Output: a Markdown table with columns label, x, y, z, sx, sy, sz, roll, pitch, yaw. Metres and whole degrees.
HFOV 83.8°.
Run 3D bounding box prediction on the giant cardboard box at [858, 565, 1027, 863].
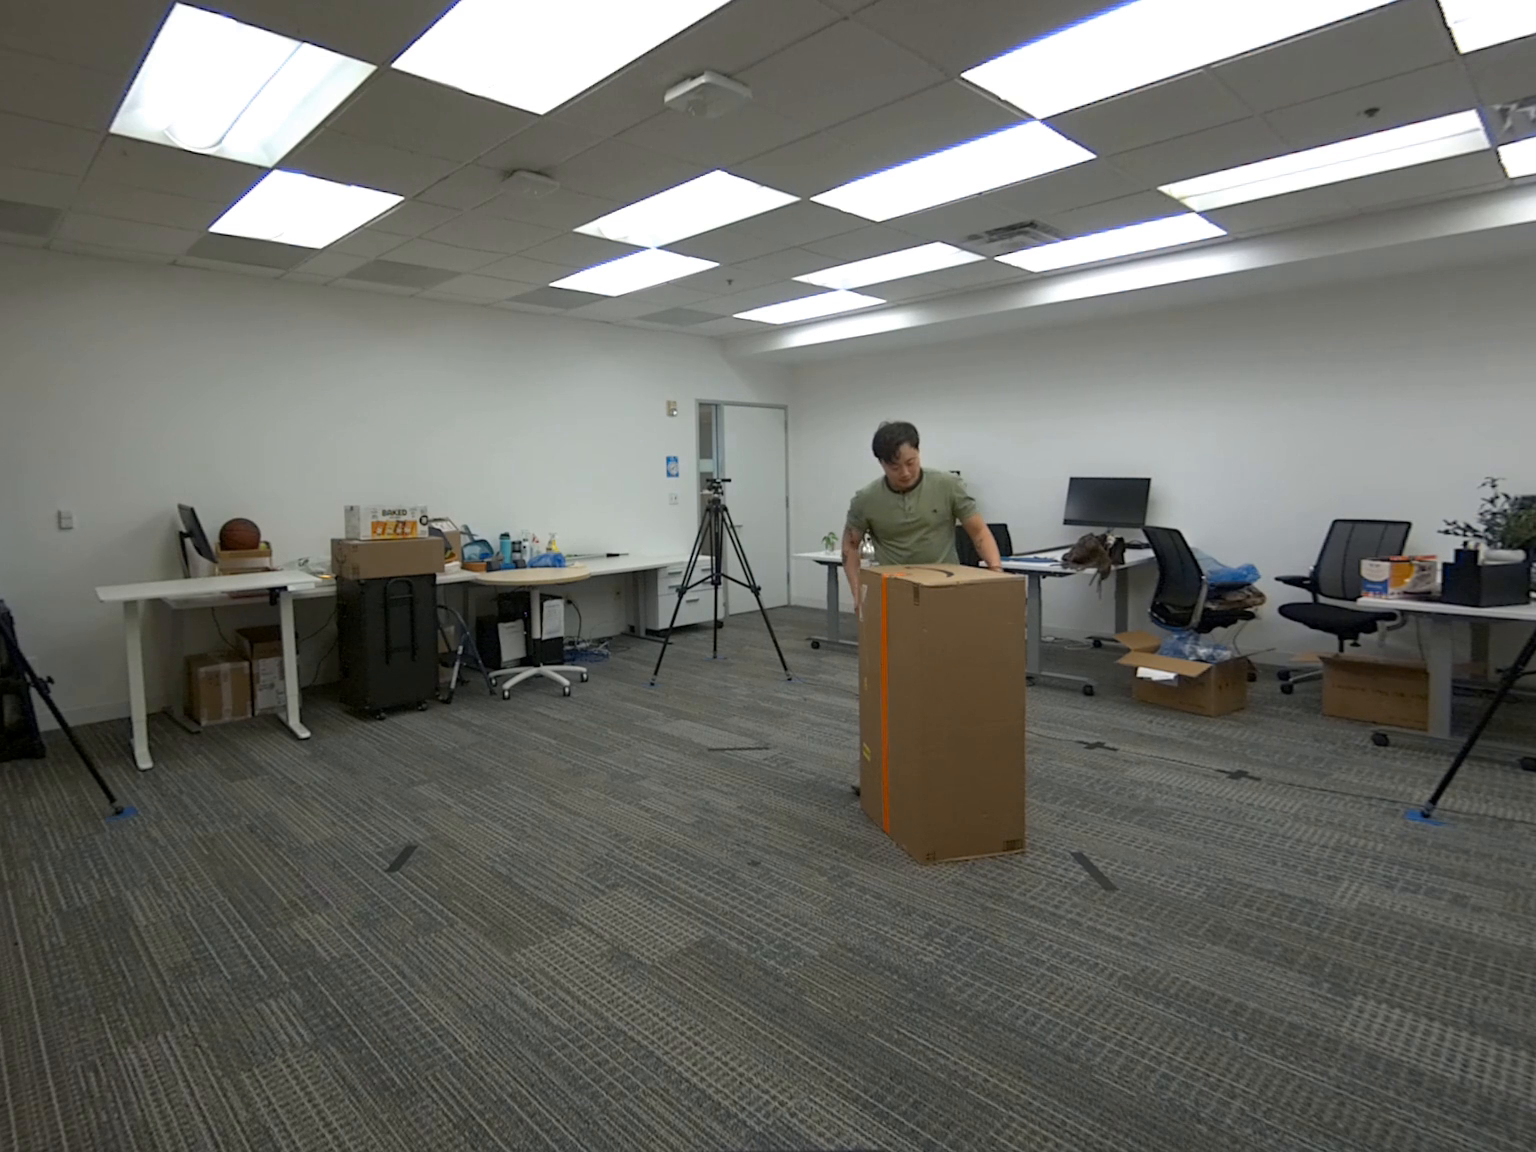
| label | x | y | z | sx | sy | sz | roll | pitch | yaw |
| --- | --- | --- | --- | --- | --- | --- | --- | --- | --- |
| giant cardboard box | 0.659 | 0.495 | 3.343 | 0.421 | 1.021 | 0.588 | -2 | 5 | -15 |
